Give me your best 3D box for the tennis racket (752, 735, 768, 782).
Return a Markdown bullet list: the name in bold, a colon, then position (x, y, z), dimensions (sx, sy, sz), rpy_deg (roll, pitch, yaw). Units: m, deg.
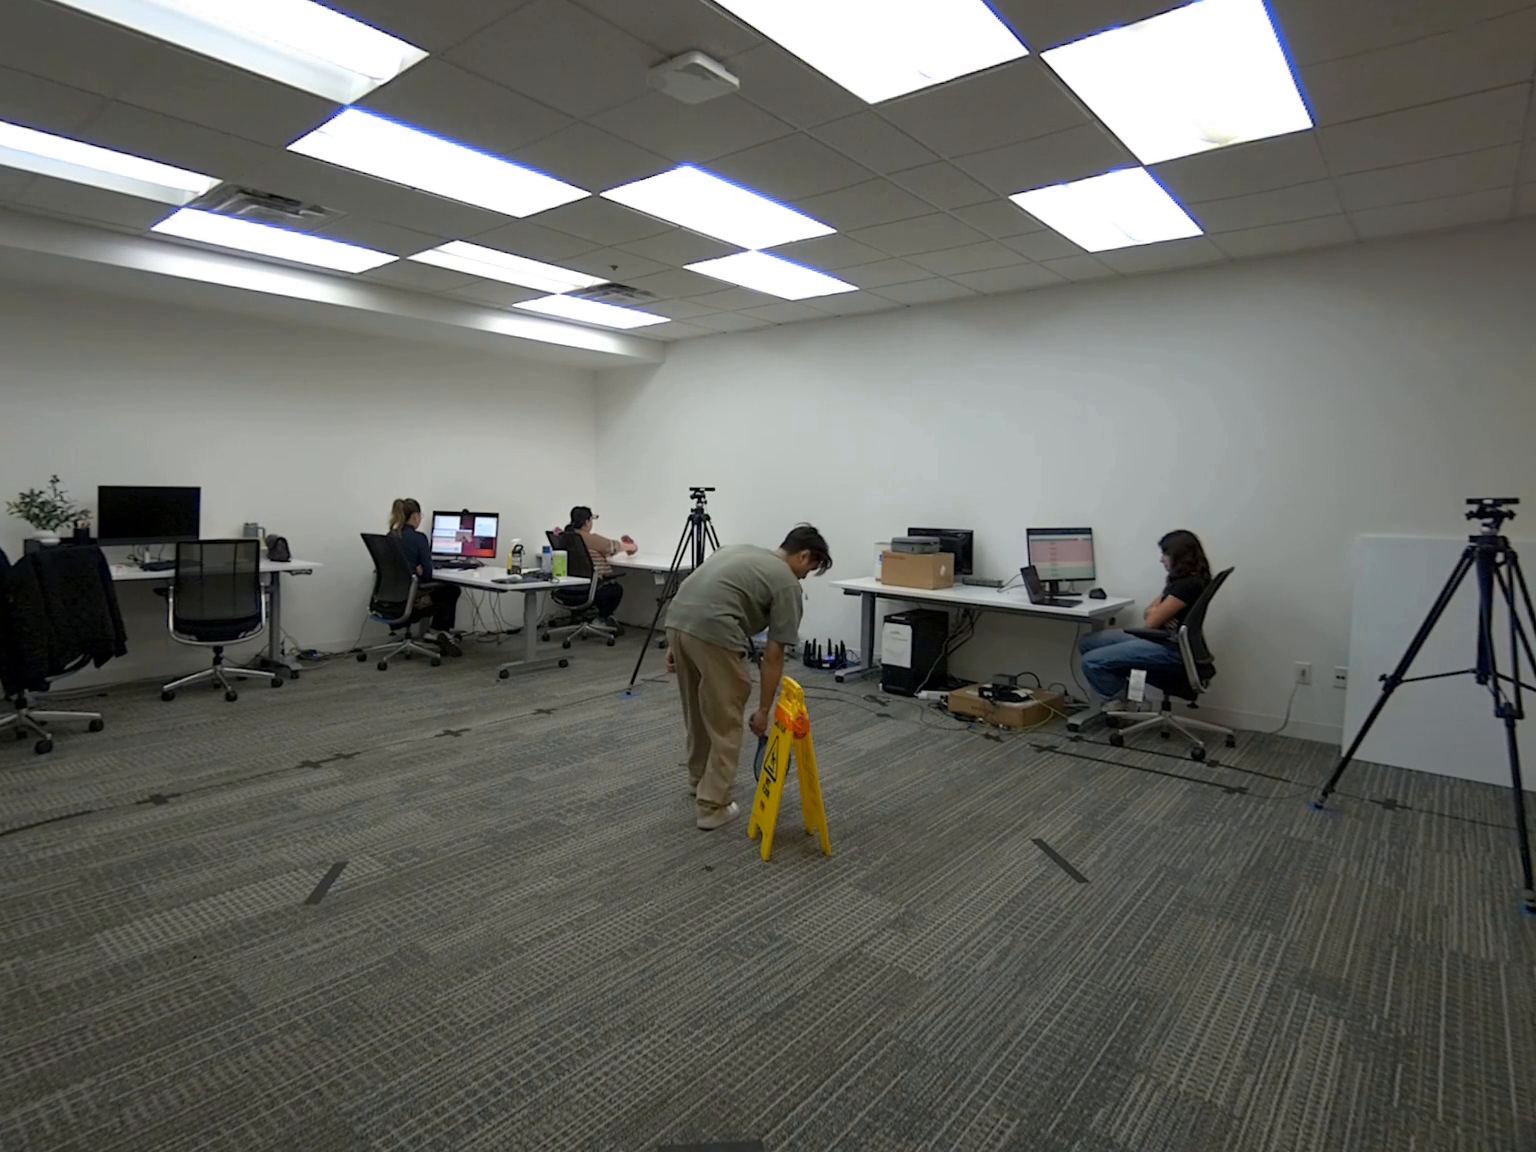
- **tennis racket**: position (-0.043, 0.778, 3.733), dimensions (0.033, 0.418, 0.213), rpy_deg (16, 46, 42)
